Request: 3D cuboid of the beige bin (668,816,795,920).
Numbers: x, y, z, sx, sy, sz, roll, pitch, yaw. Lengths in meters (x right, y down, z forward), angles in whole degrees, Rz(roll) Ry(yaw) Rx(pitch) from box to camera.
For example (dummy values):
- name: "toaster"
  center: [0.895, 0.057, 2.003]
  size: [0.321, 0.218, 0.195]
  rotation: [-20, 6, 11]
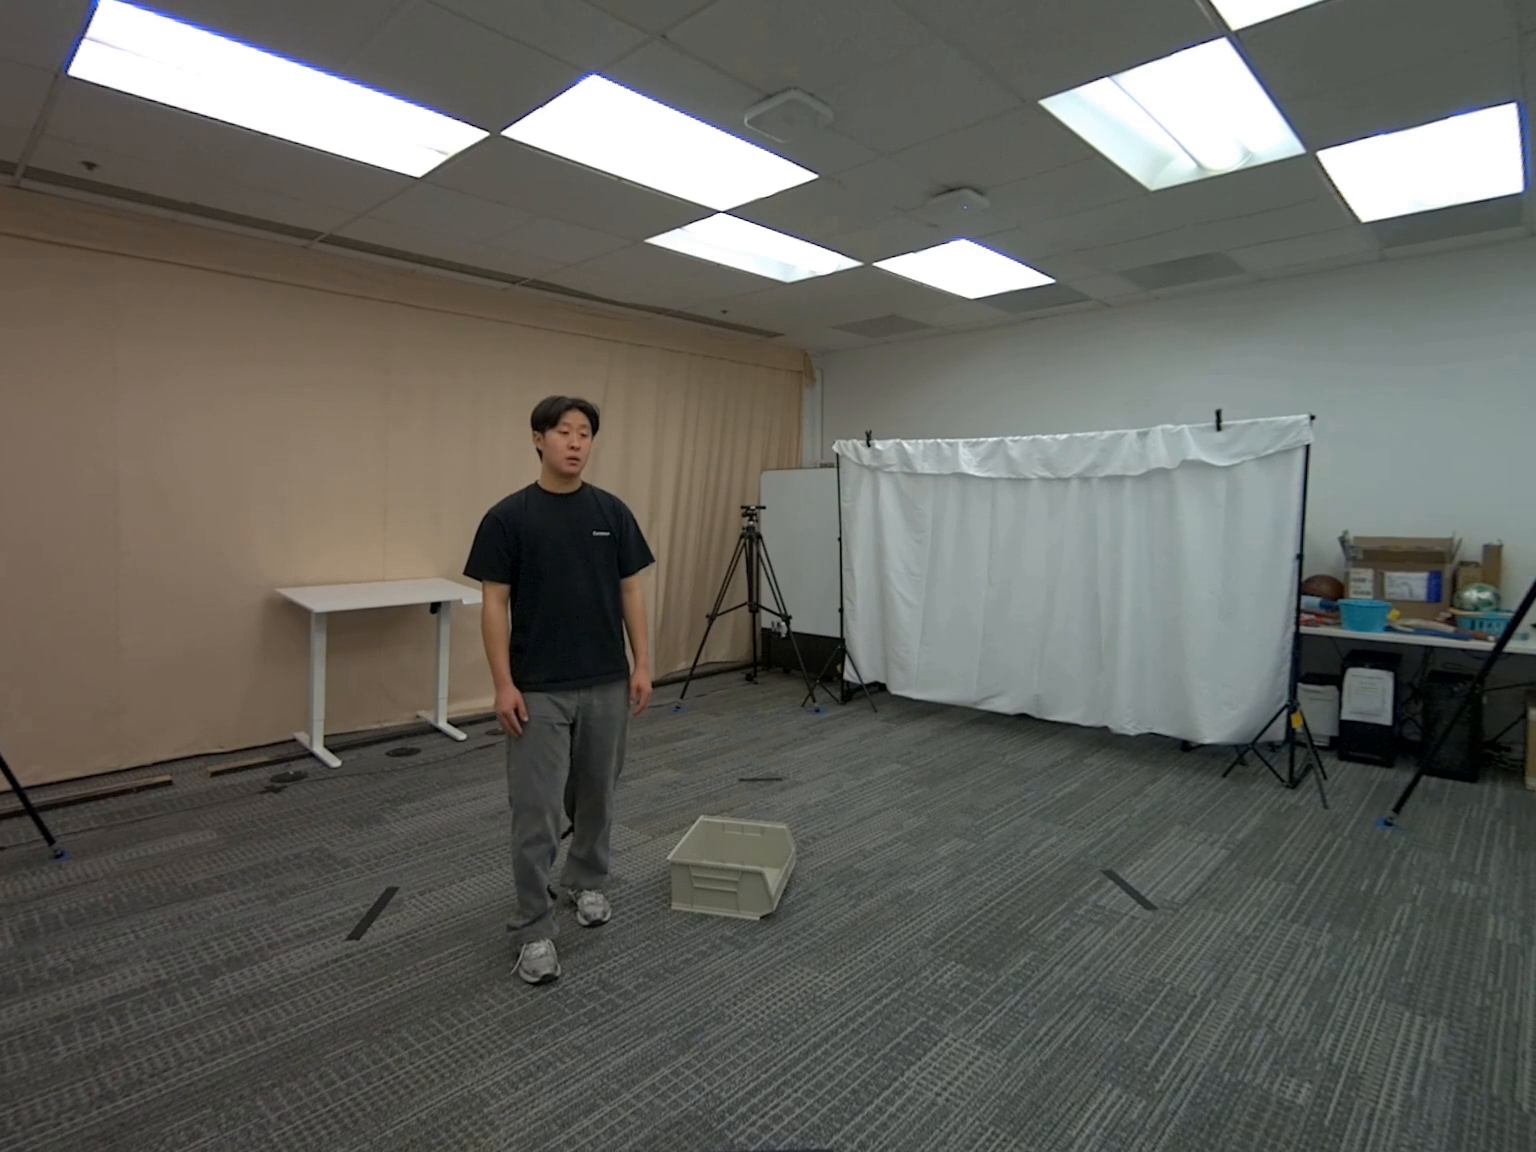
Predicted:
- name: "beige bin"
  center: [-0.118, 1.051, 3.054]
  size: [0.383, 0.188, 0.417]
  rotation: [0, 5, 13]
